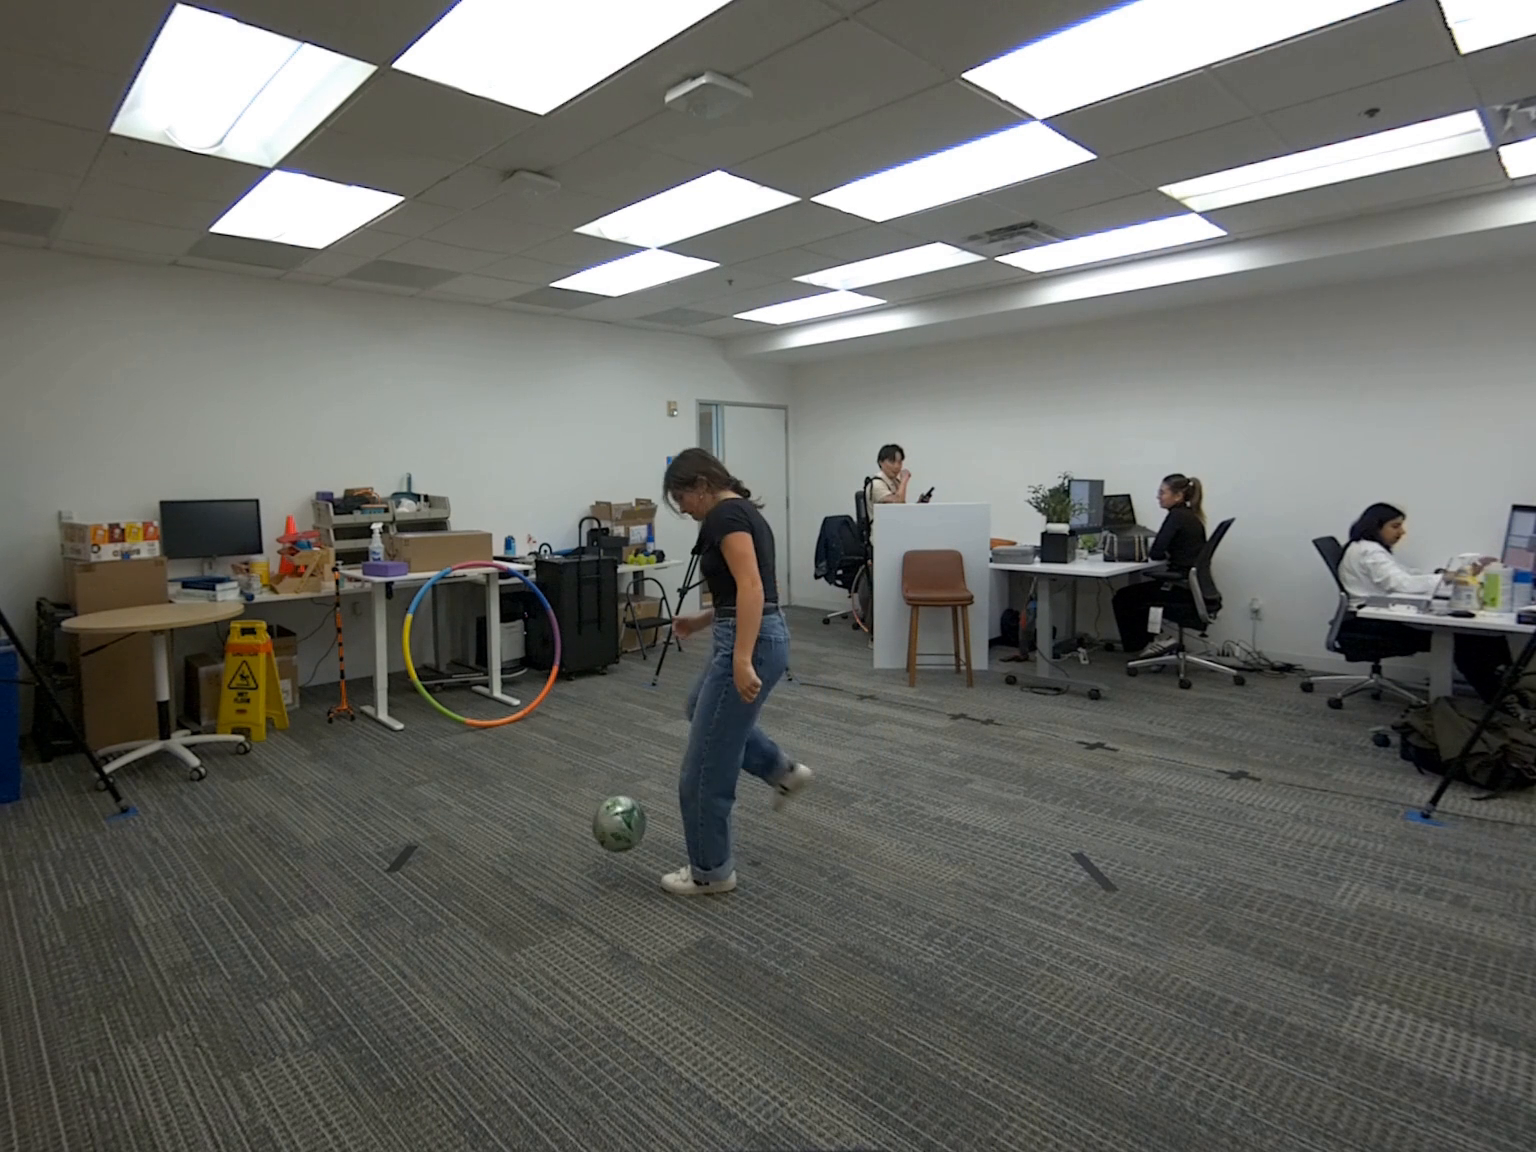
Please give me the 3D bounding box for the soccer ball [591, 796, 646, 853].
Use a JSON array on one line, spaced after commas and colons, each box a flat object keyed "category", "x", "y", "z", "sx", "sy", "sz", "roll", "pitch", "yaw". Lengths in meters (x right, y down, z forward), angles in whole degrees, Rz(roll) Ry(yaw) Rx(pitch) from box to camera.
[{"category": "soccer ball", "x": -0.499, "y": 0.860, "z": 2.956, "sx": 0.187, "sy": 0.187, "sz": 0.188, "roll": -1, "pitch": 5, "yaw": -2}]
